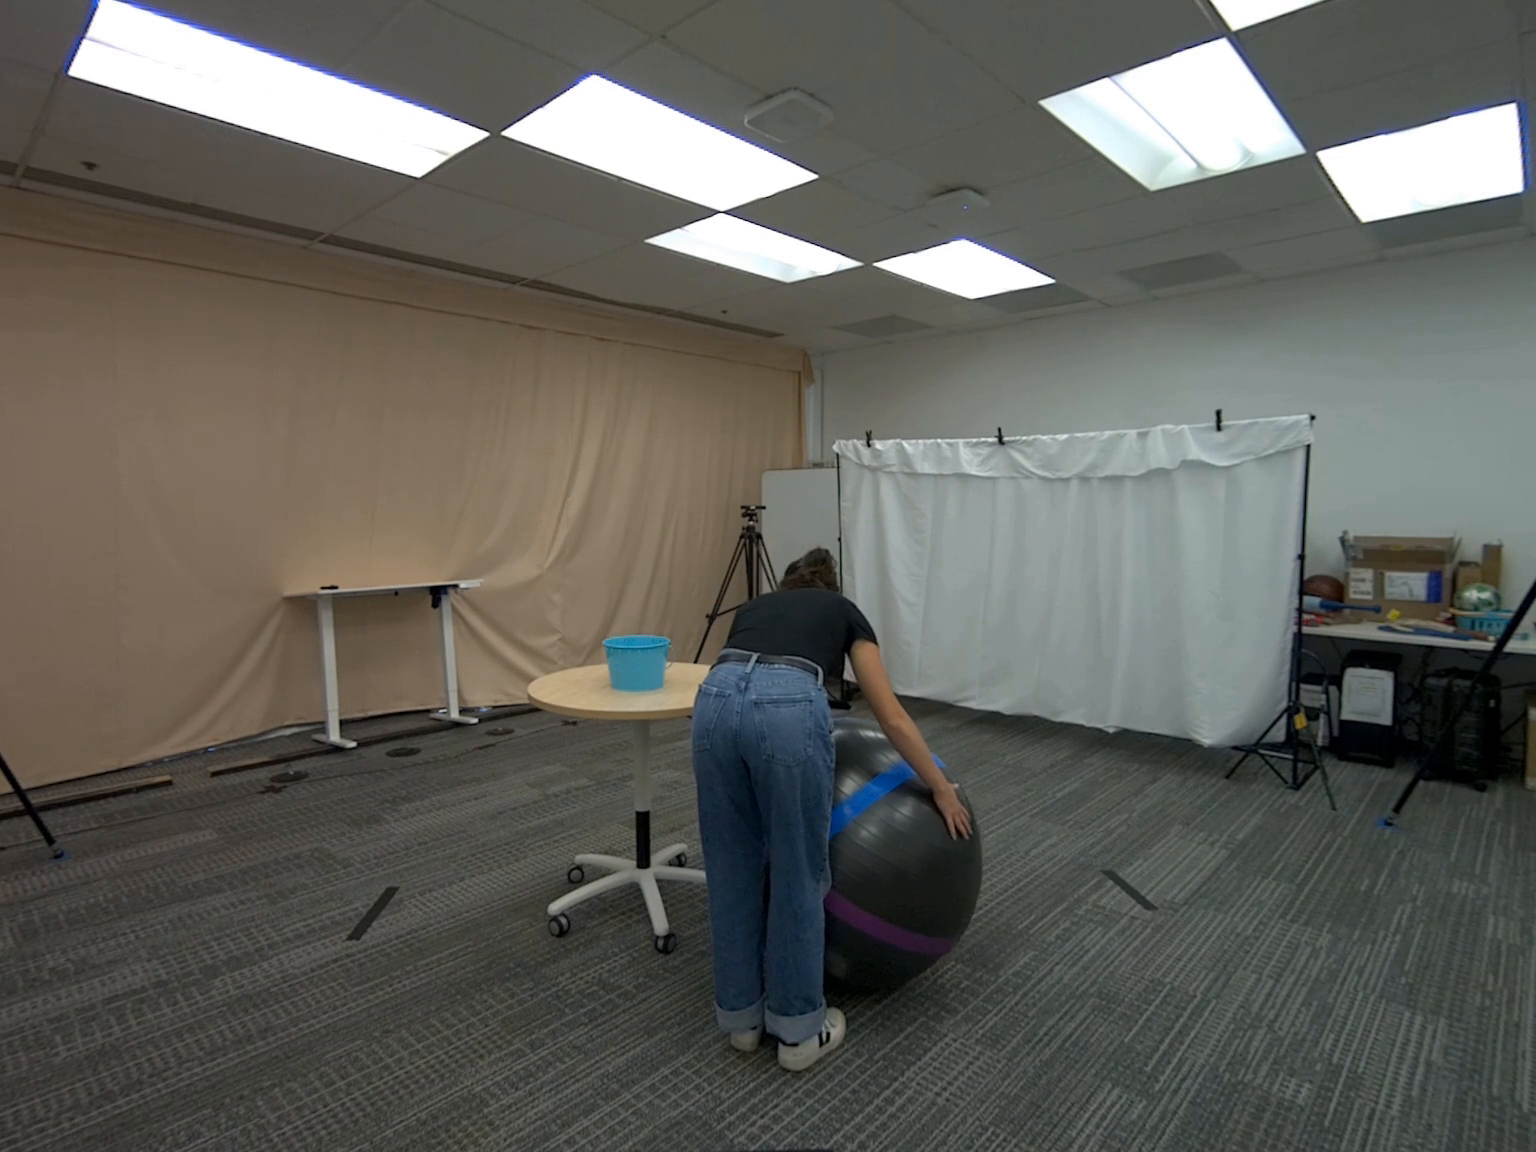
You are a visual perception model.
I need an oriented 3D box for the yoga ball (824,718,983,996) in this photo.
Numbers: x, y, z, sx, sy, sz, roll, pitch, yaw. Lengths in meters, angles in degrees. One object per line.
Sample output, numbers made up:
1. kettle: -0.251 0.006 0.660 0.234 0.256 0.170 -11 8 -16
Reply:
1. yoga ball: 0.258 0.821 2.520 0.757 0.756 0.760 0 4 -2
